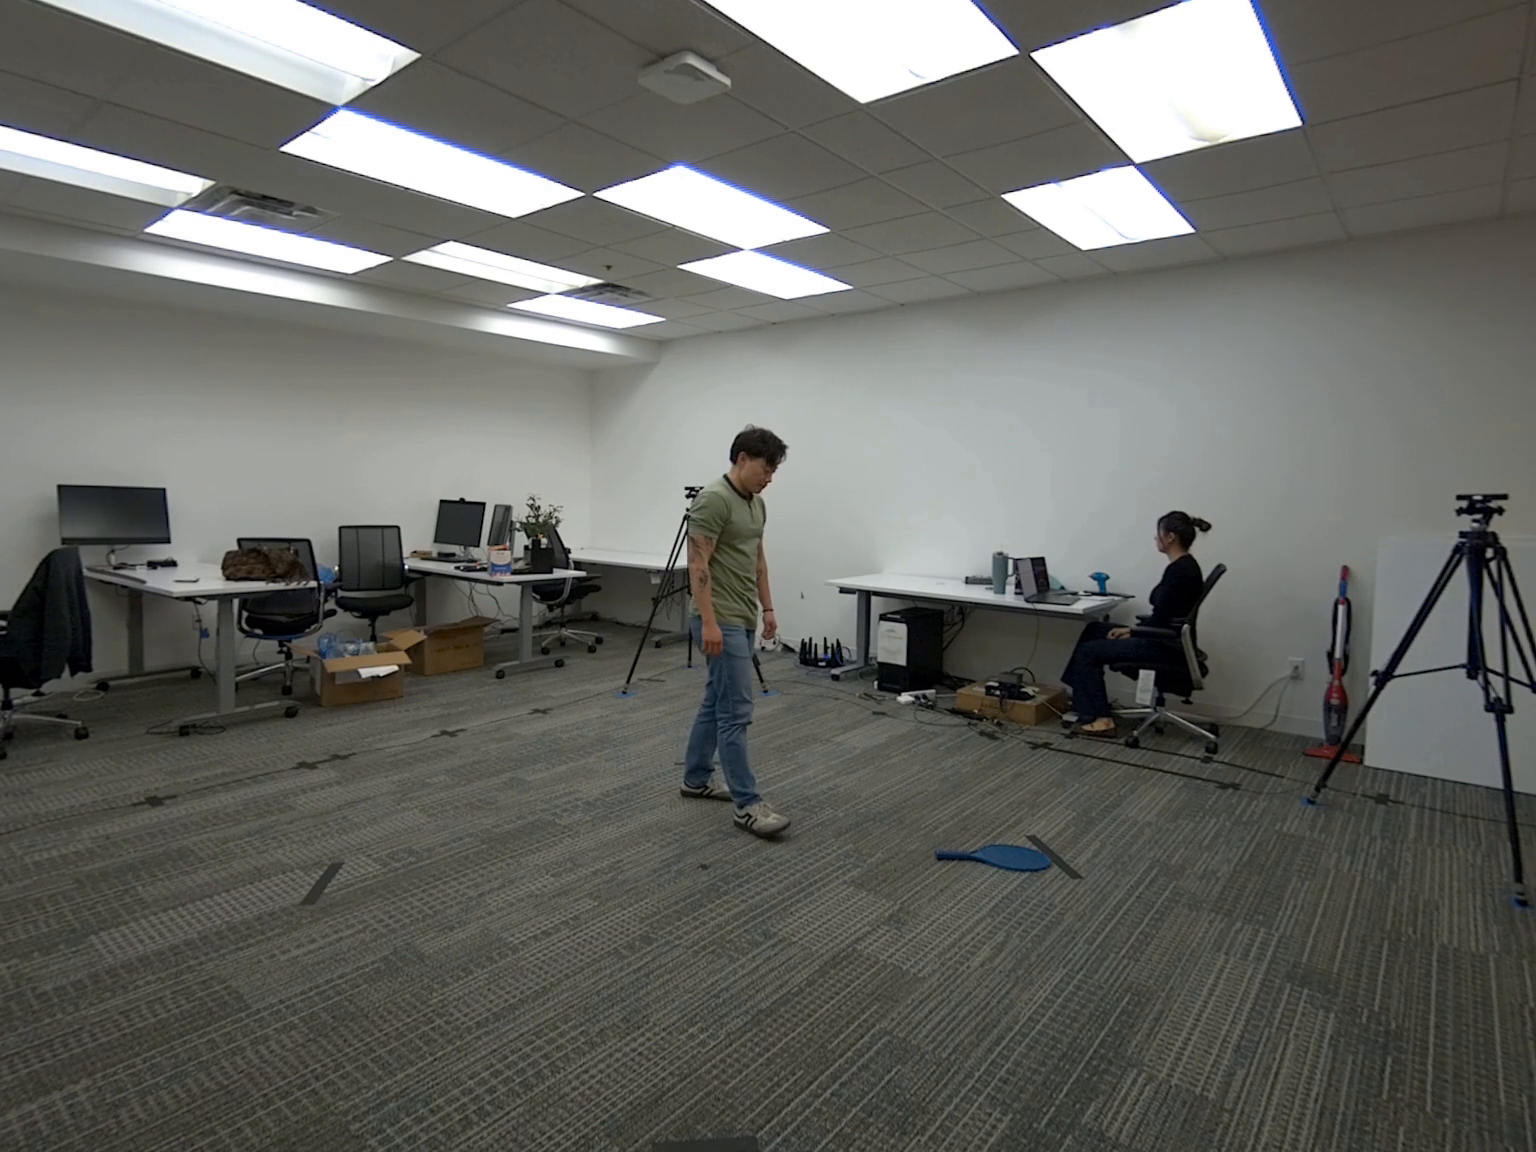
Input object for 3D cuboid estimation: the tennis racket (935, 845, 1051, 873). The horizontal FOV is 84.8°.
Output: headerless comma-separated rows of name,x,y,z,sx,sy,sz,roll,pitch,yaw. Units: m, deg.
tennis racket,0.839,1.058,3.236,0.433,0.031,0.215,2,6,-1
